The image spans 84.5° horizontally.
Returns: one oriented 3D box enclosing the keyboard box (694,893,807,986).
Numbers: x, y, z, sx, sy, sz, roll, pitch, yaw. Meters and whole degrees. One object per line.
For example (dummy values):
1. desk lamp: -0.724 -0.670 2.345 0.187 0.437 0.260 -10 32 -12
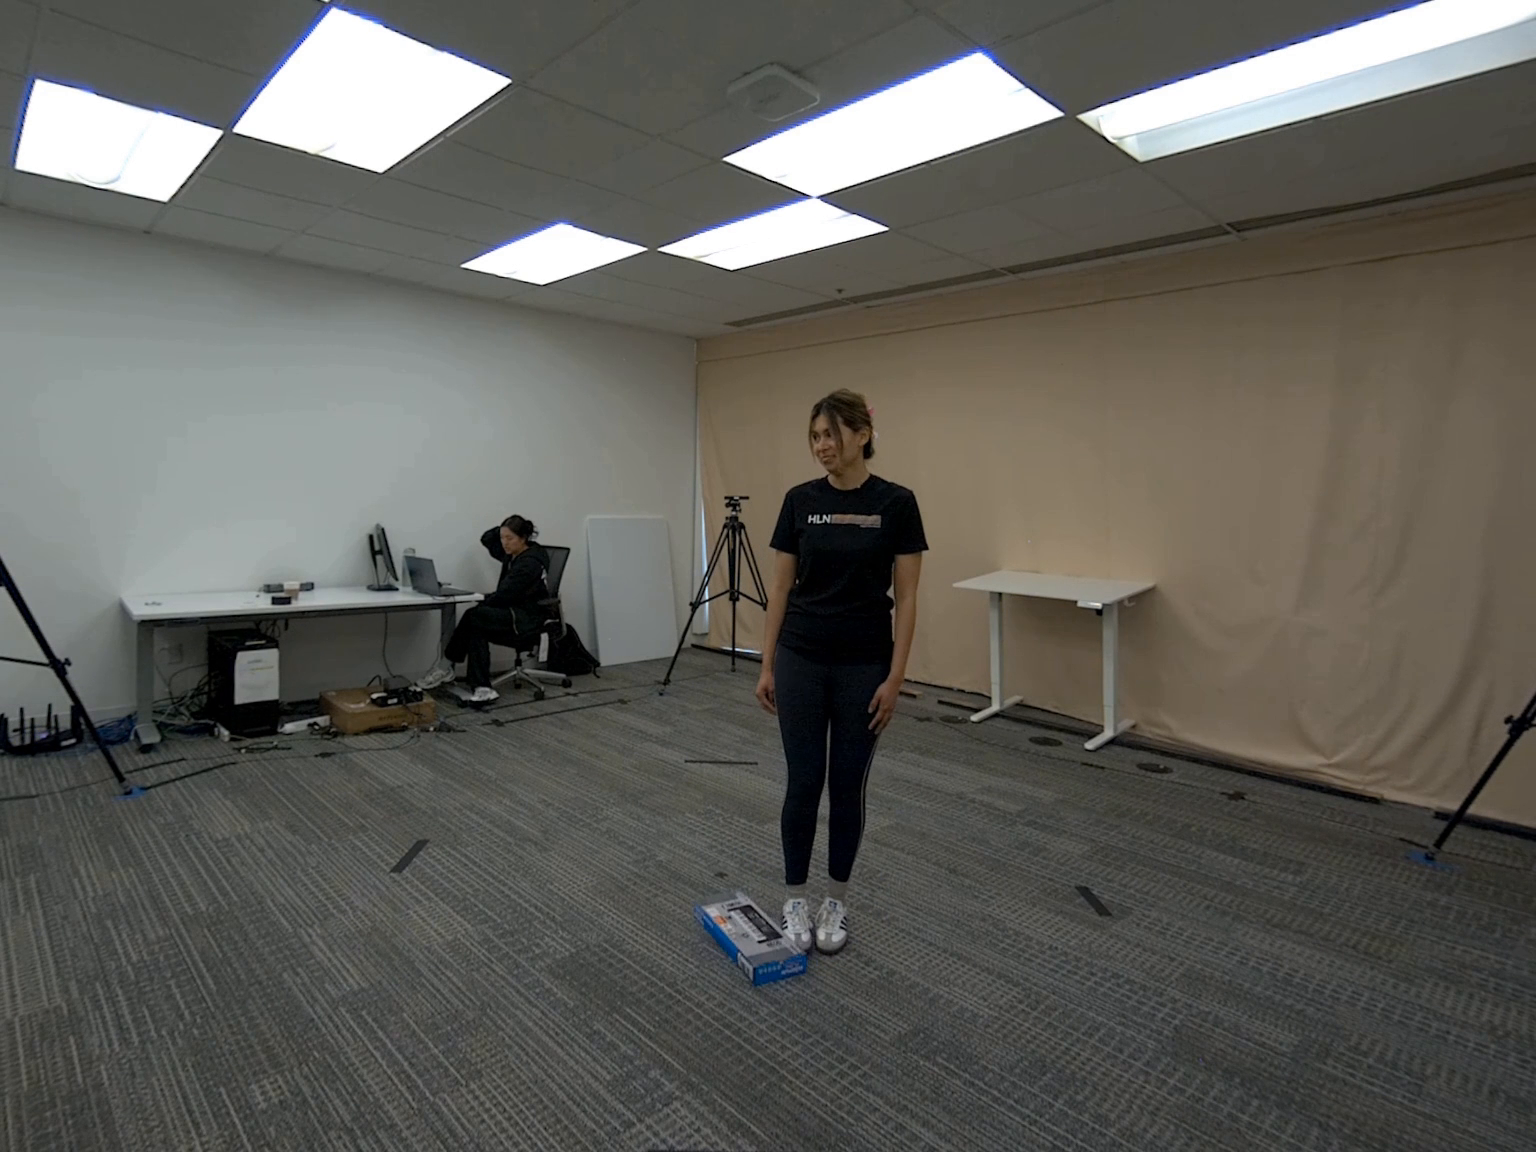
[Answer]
1. keyboard box: -0.075 1.119 2.625 0.173 0.059 0.446 -2 6 -27
